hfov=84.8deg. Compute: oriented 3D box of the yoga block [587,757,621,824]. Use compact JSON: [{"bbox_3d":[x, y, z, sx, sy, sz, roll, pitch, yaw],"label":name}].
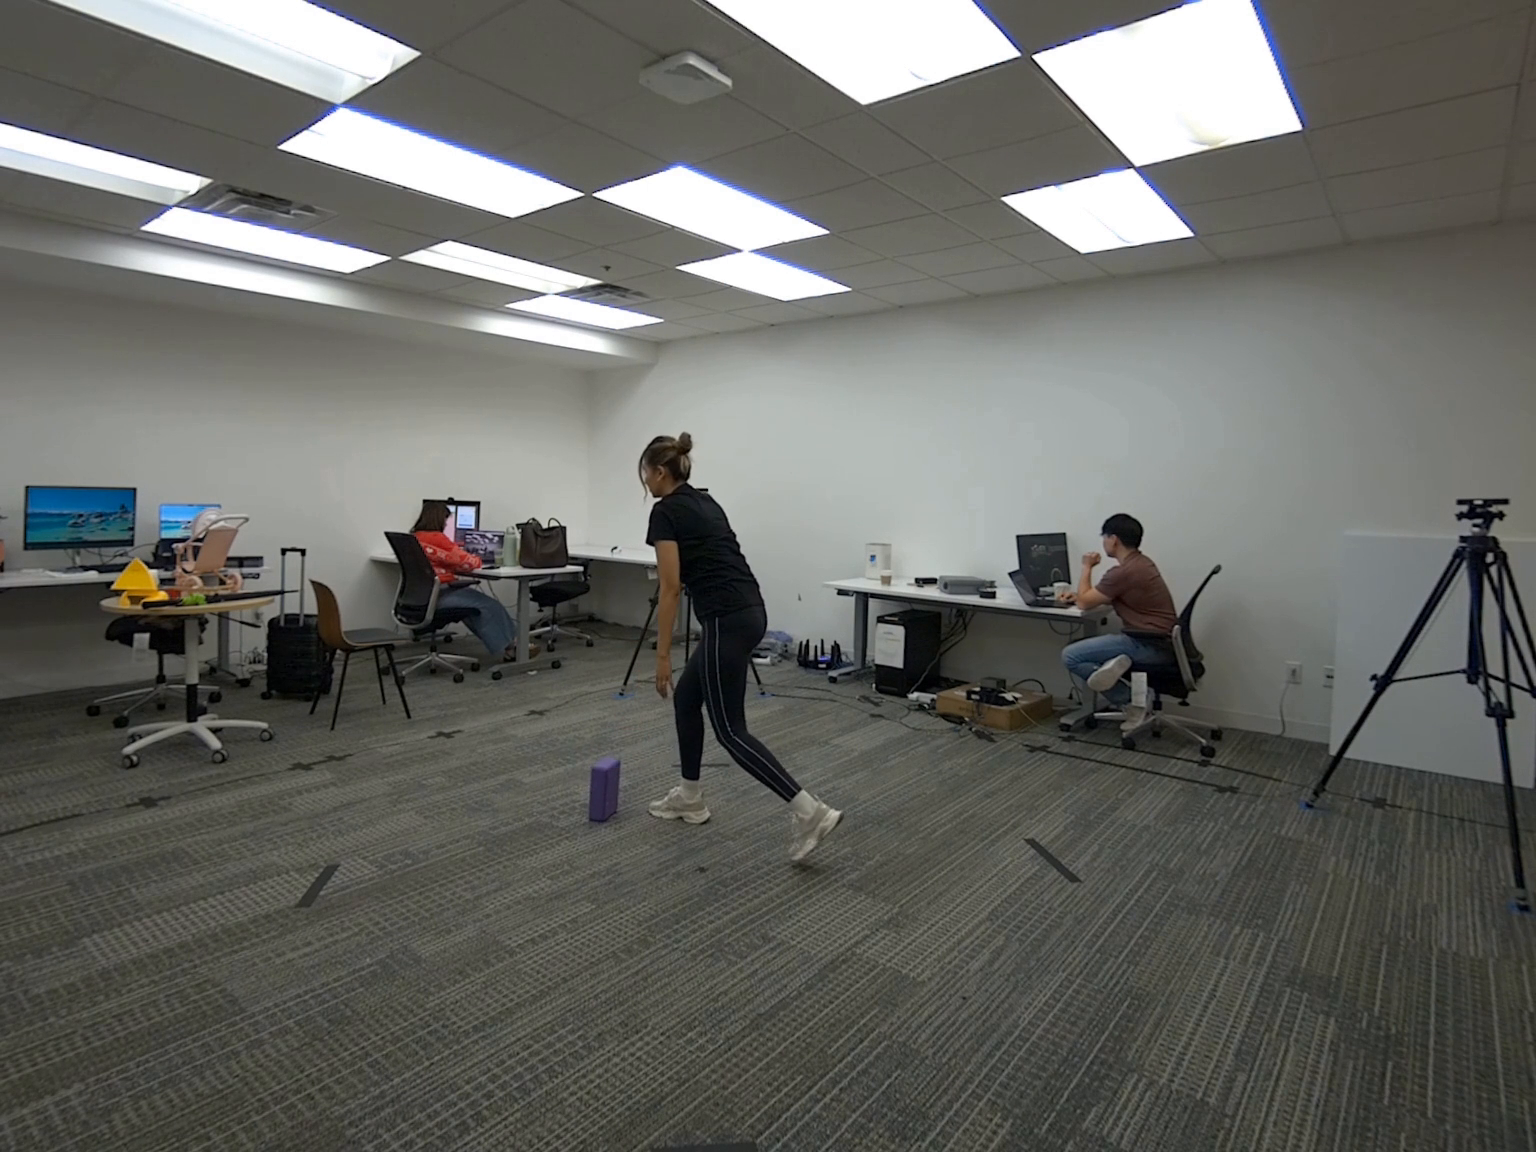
[{"bbox_3d":[-0.706,0.898,3.606,0.077,0.229,0.147,1,3,13],"label":"yoga block"}]
